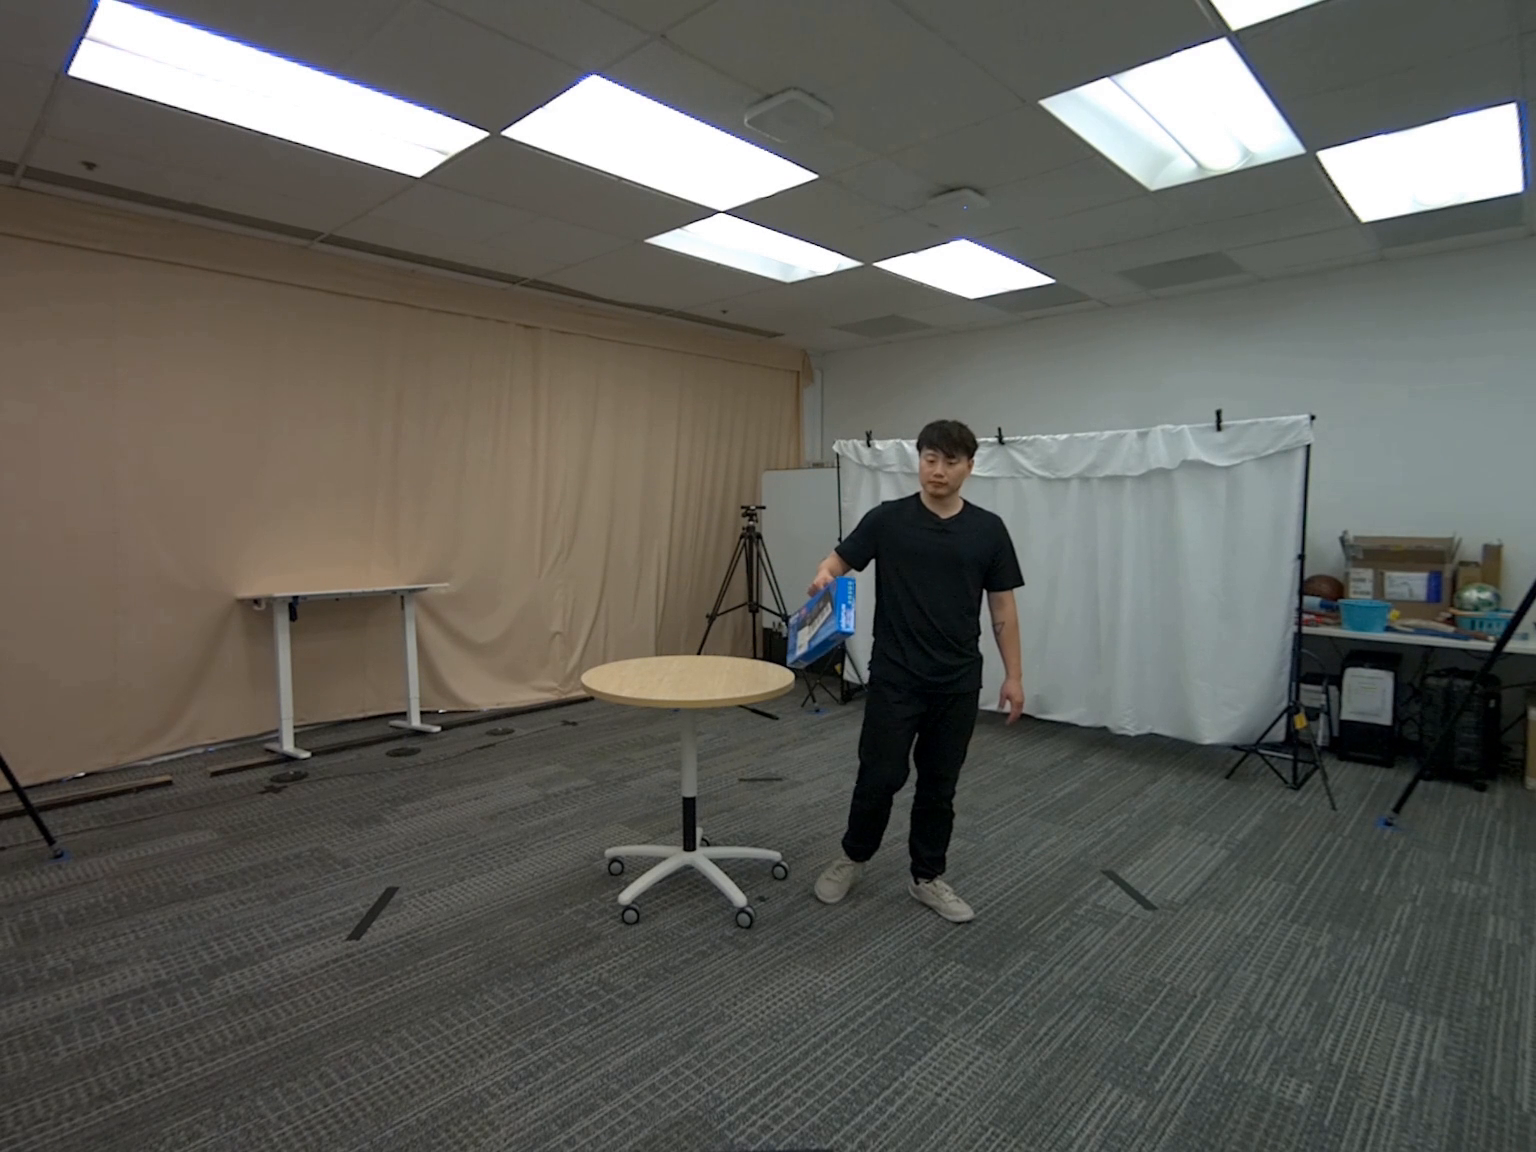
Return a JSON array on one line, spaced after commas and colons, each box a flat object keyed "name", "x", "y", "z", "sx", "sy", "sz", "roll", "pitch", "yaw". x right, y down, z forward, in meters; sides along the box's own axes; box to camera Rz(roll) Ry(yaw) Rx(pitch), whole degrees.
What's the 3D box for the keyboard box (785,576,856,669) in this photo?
[{"name": "keyboard box", "x": 0.157, "y": 0.168, "z": 2.648, "sx": 0.058, "sy": 0.178, "sz": 0.439, "roll": 11, "pitch": -22, "yaw": -16}]
